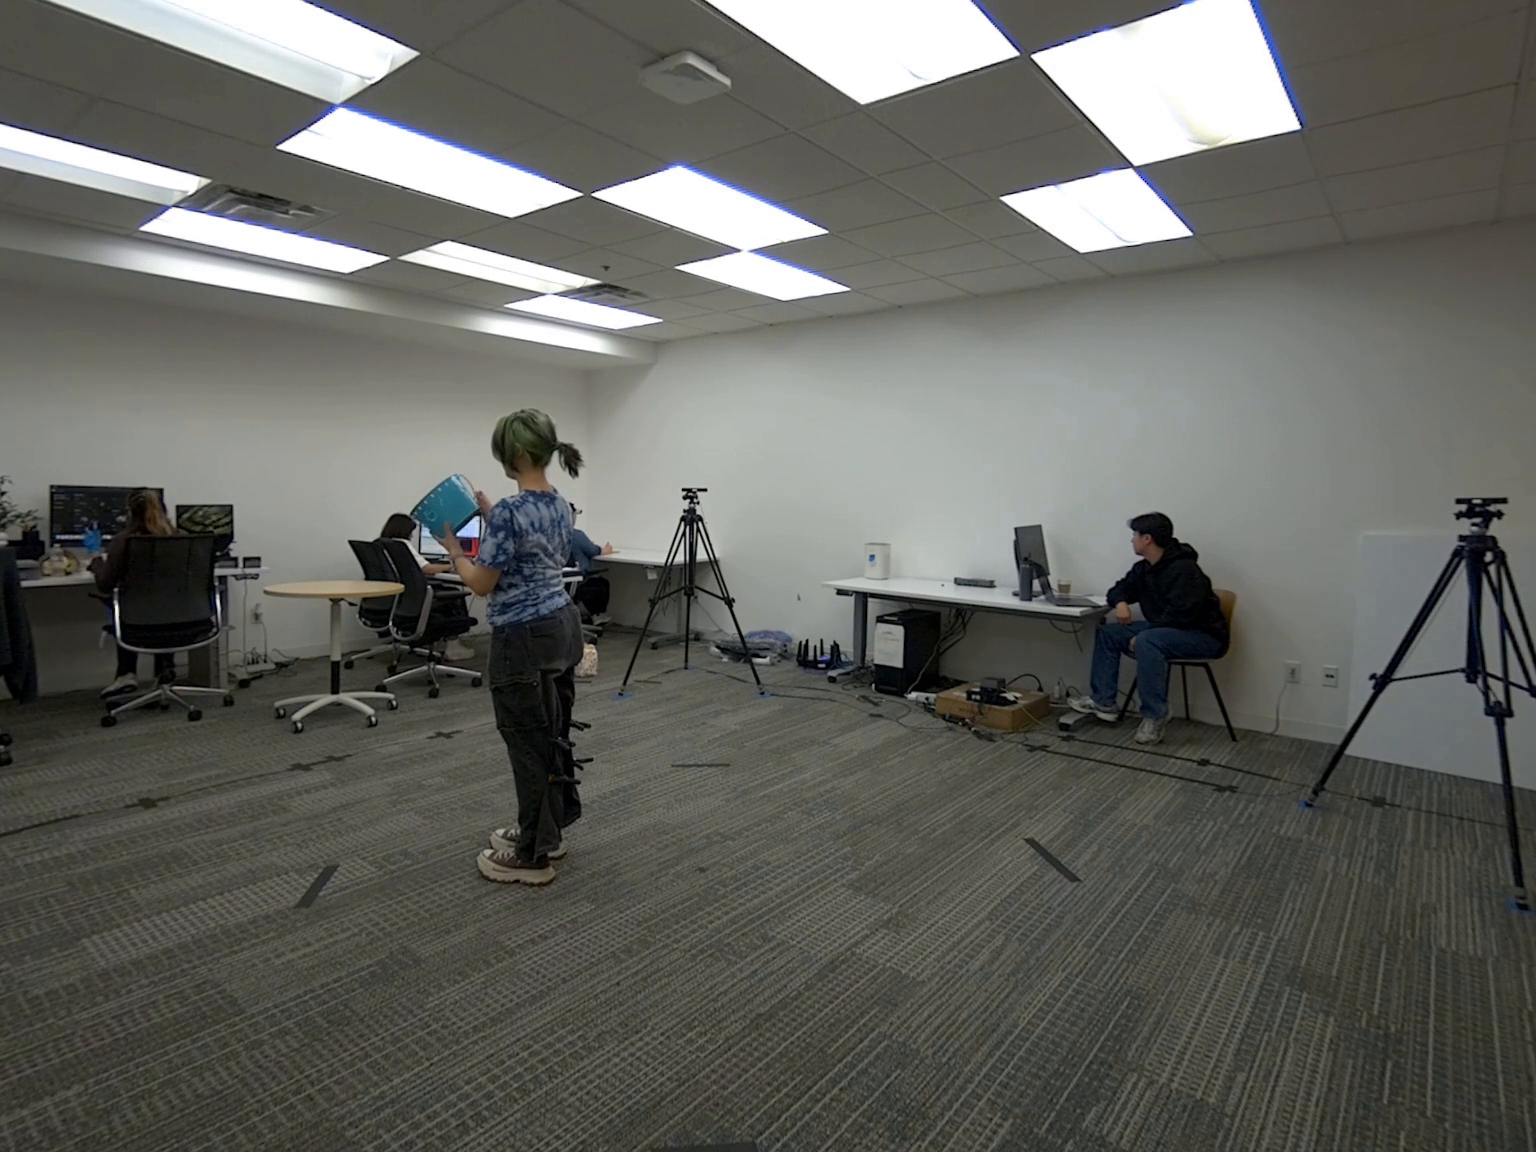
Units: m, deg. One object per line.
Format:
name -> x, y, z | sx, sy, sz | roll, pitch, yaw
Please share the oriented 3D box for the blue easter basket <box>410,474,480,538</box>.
blue easter basket -> -1.204, -0.252, 3.157 | 0.244, 0.154, 0.246 | -43, 9, 5
